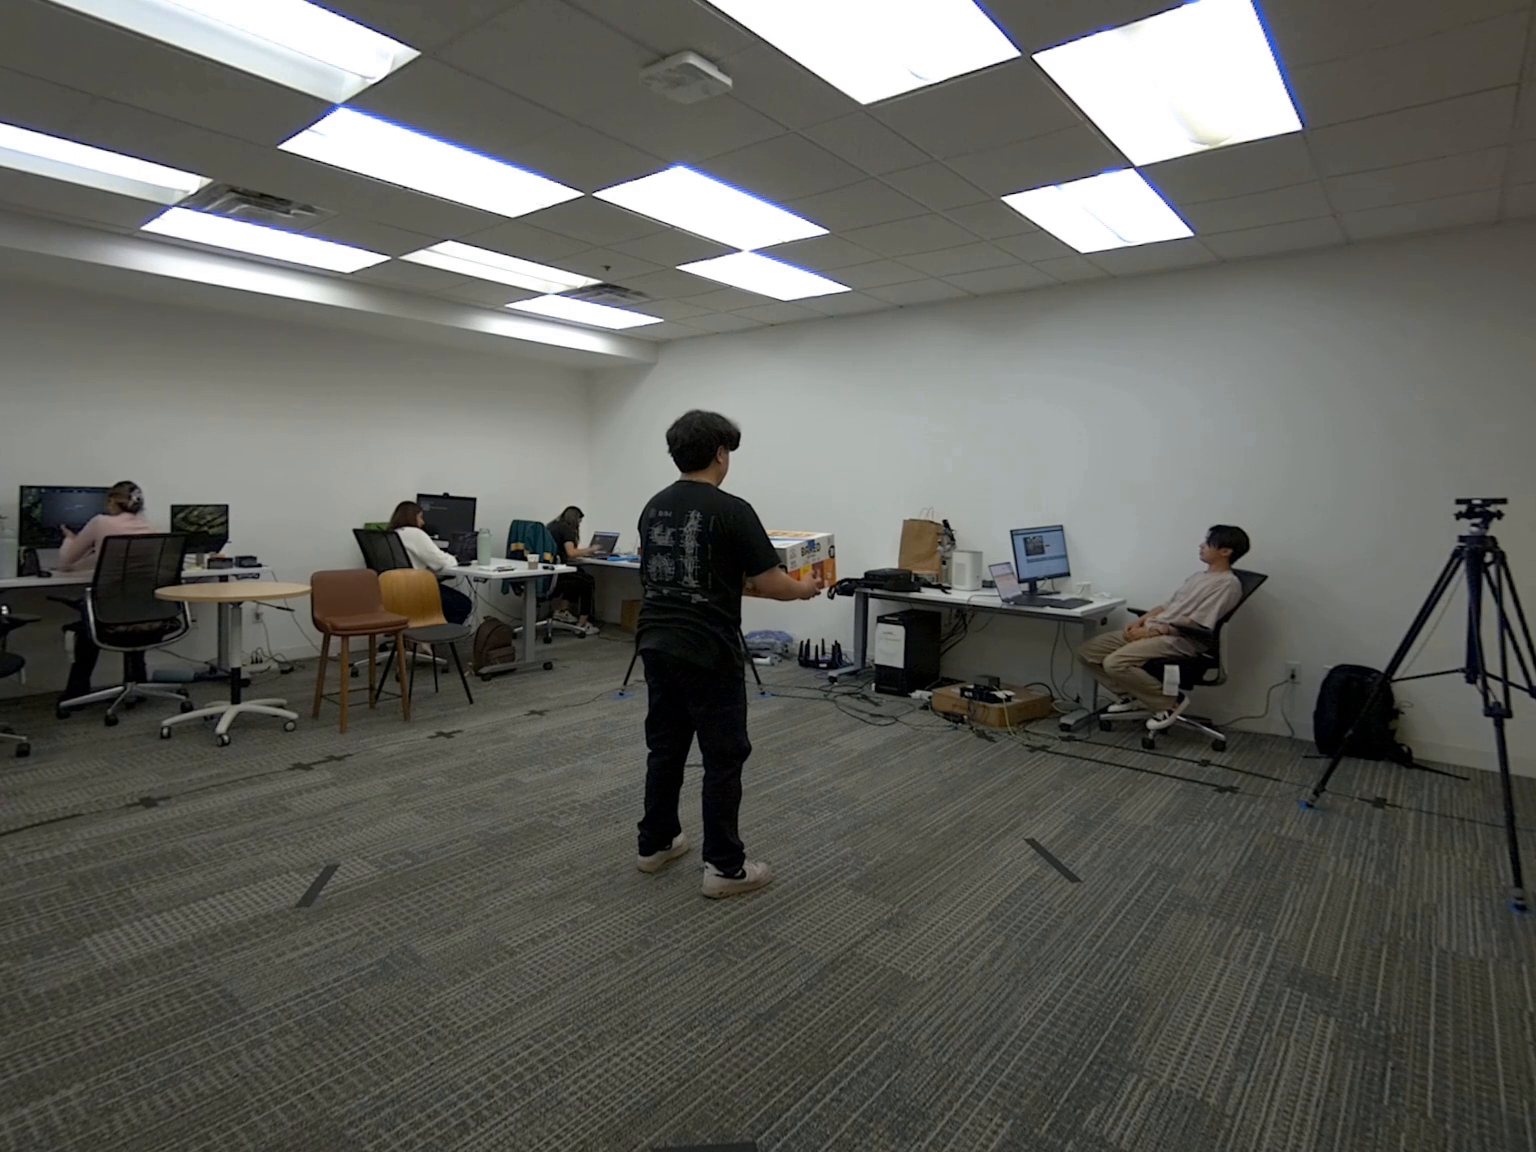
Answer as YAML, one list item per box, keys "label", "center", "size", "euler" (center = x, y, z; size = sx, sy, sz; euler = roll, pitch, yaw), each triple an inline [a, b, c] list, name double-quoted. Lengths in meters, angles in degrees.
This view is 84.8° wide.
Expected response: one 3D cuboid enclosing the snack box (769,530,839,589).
- label: "snack box"
  center: [-0.006, -0.051, 3.352]
  size: [0.418, 0.204, 0.332]
  euler: [4, 12, 37]
